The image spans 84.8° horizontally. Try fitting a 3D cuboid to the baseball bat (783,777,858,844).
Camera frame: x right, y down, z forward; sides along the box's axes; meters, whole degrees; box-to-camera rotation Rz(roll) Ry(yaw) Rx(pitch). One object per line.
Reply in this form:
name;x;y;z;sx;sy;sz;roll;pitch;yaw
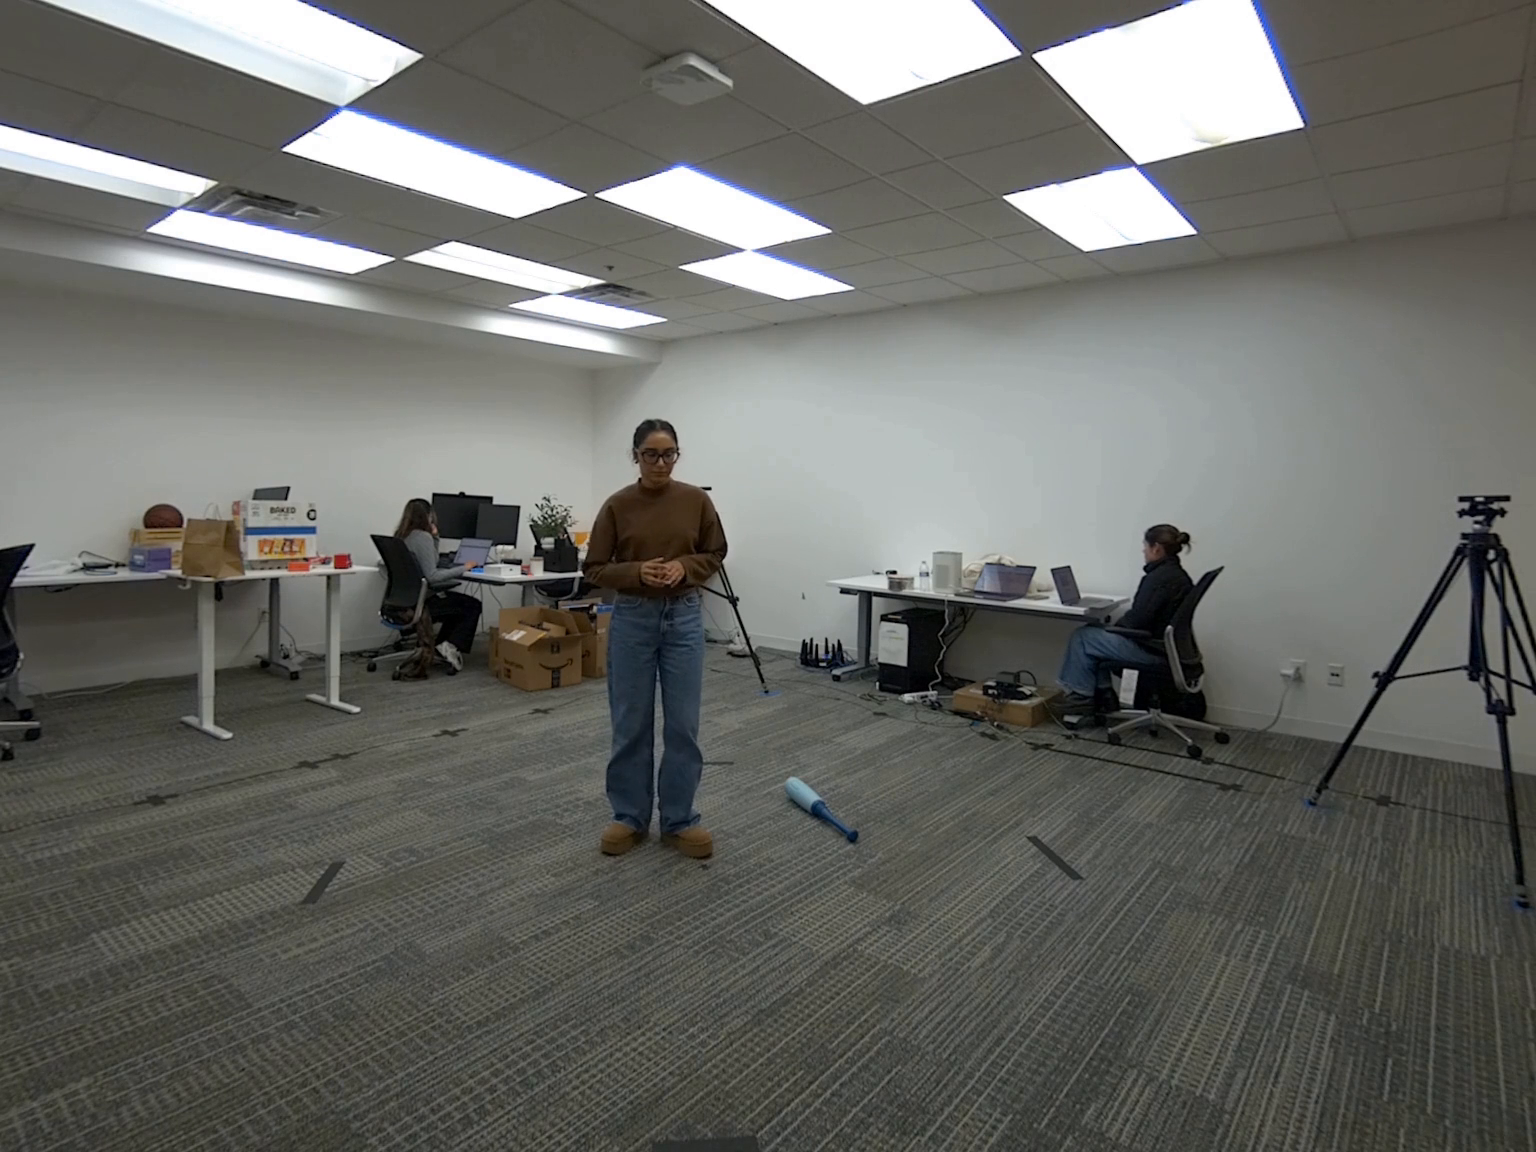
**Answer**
baseball bat;0.211;0.987;3.607;0.087;0.088;0.559;-1;9;-24
